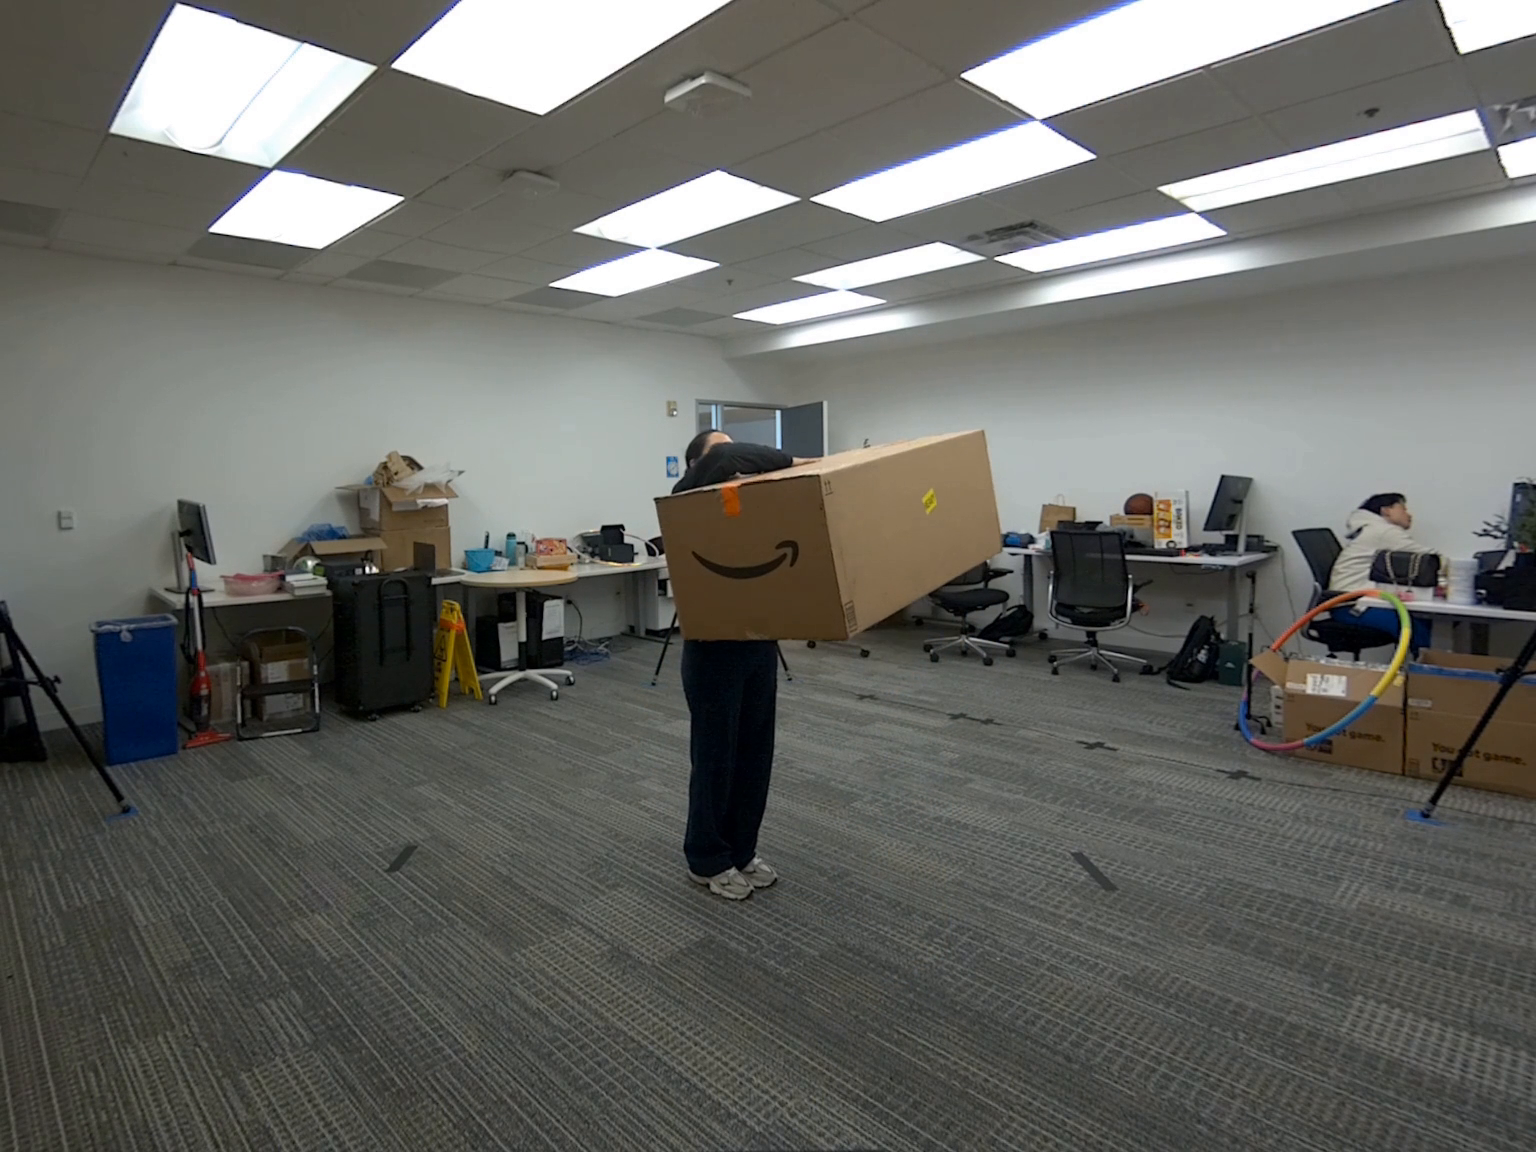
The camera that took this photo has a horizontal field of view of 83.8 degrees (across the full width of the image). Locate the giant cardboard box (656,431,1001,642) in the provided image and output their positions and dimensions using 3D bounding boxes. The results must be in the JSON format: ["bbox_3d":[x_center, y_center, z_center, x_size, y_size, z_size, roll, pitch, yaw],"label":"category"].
[{"bbox_3d":[0.230,-0.157,2.684,0.592,0.423,1.007,-5,11,38],"label":"giant cardboard box"}]
